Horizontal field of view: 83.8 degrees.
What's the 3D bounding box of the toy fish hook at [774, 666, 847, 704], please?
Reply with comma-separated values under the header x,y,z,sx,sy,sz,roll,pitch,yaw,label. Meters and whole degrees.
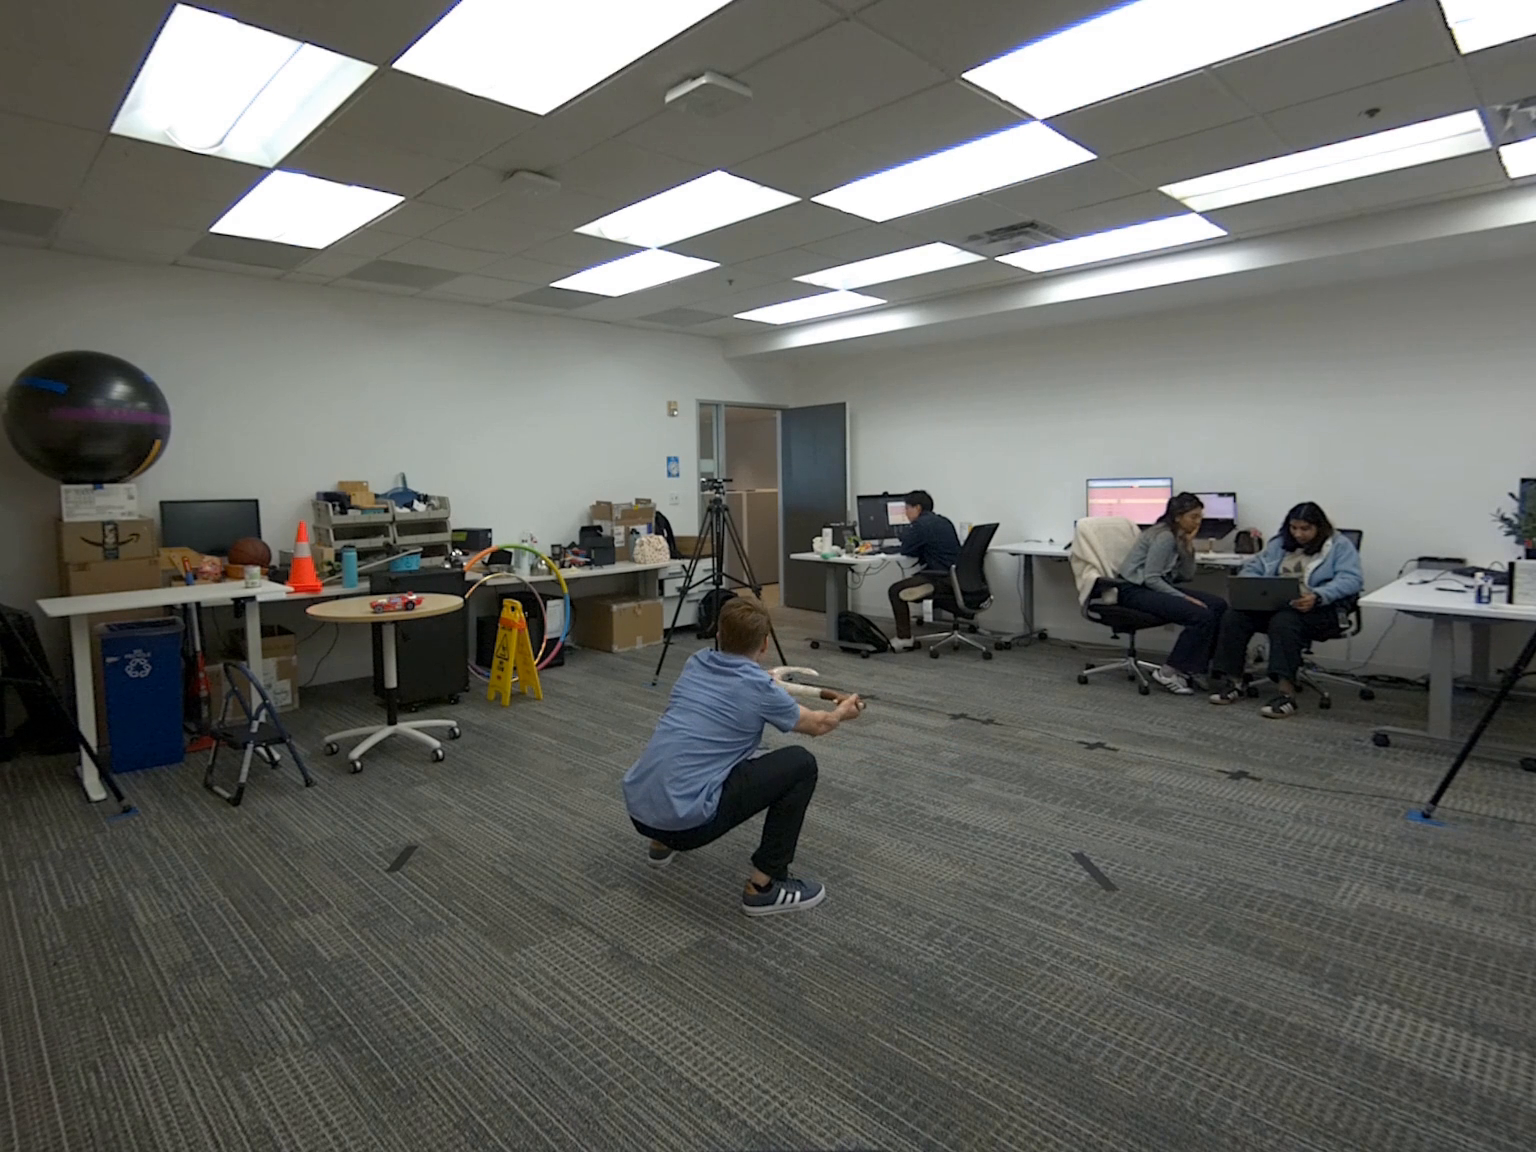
x,y,z,sx,sy,sz,roll,pitch,yaw,label
0.203,0.452,3.477,0.523,0.047,0.221,12,26,38,toy fish hook
